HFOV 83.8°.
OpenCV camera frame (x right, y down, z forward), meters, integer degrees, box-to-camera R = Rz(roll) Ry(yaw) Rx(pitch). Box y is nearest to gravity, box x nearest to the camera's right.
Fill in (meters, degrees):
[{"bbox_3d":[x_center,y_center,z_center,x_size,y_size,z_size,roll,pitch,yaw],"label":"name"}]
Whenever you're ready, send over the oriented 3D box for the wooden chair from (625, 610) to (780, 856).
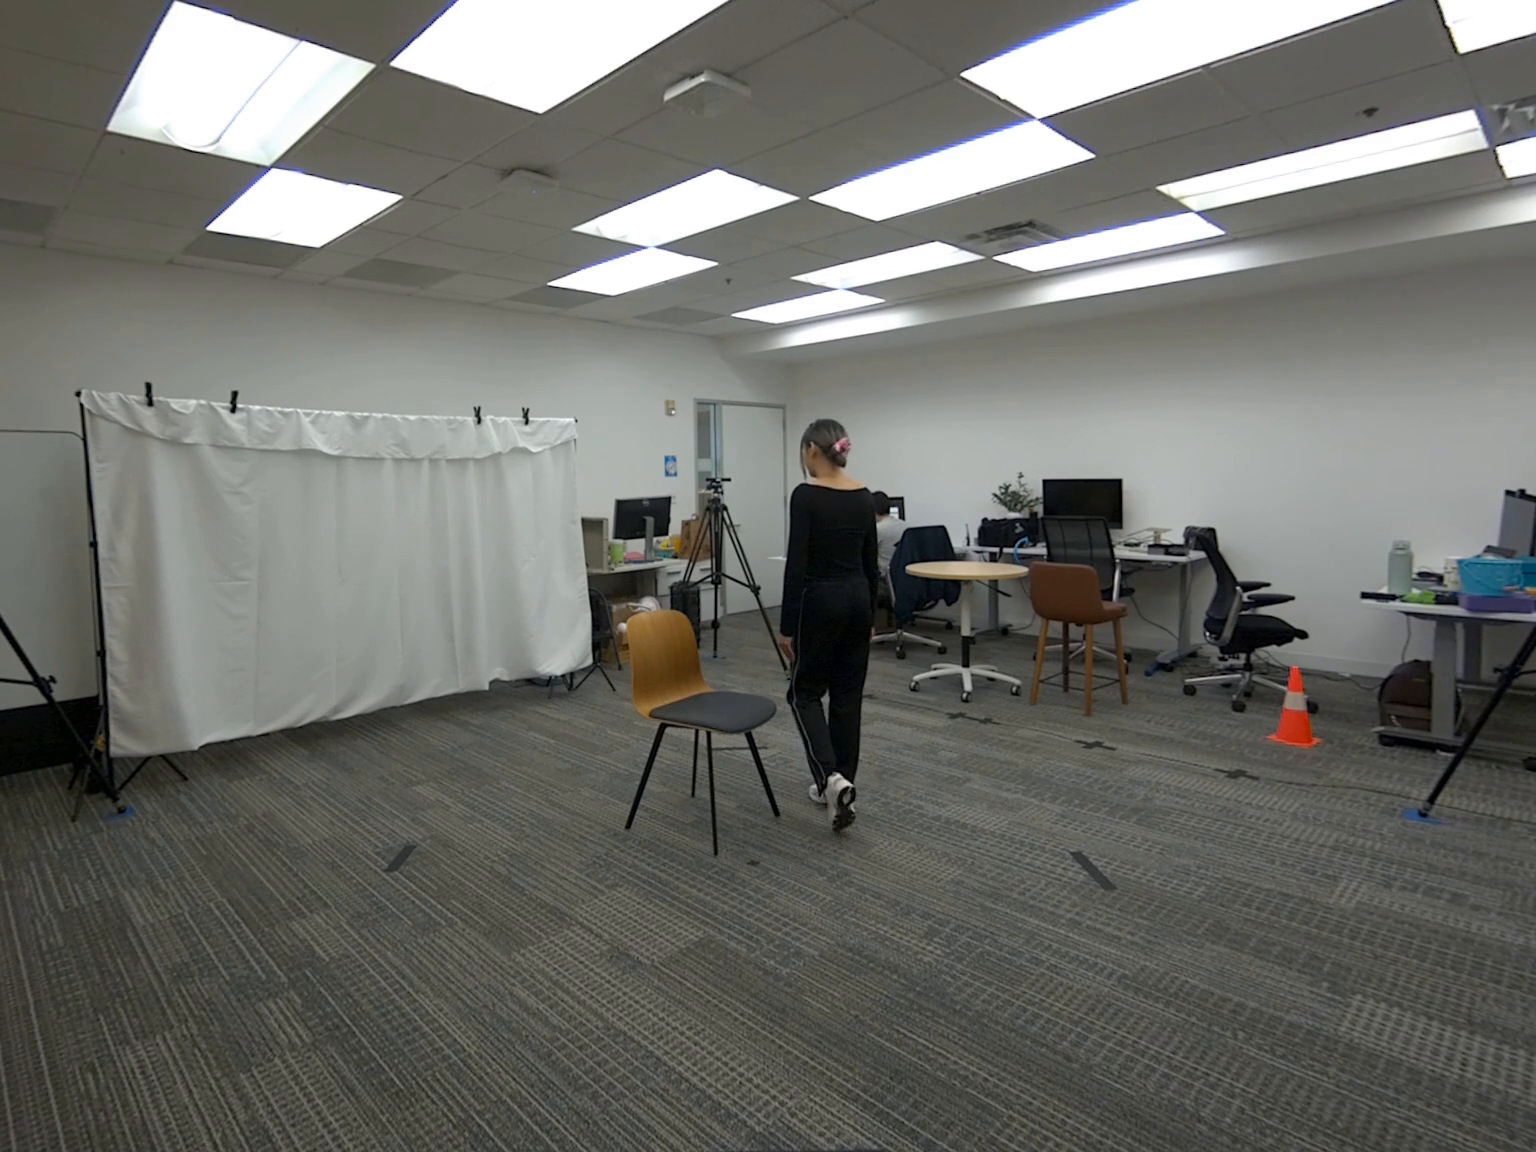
[{"bbox_3d":[-0.261,0.581,3.437,0.537,0.876,0.466,-3,2,35],"label":"wooden chair"}]
